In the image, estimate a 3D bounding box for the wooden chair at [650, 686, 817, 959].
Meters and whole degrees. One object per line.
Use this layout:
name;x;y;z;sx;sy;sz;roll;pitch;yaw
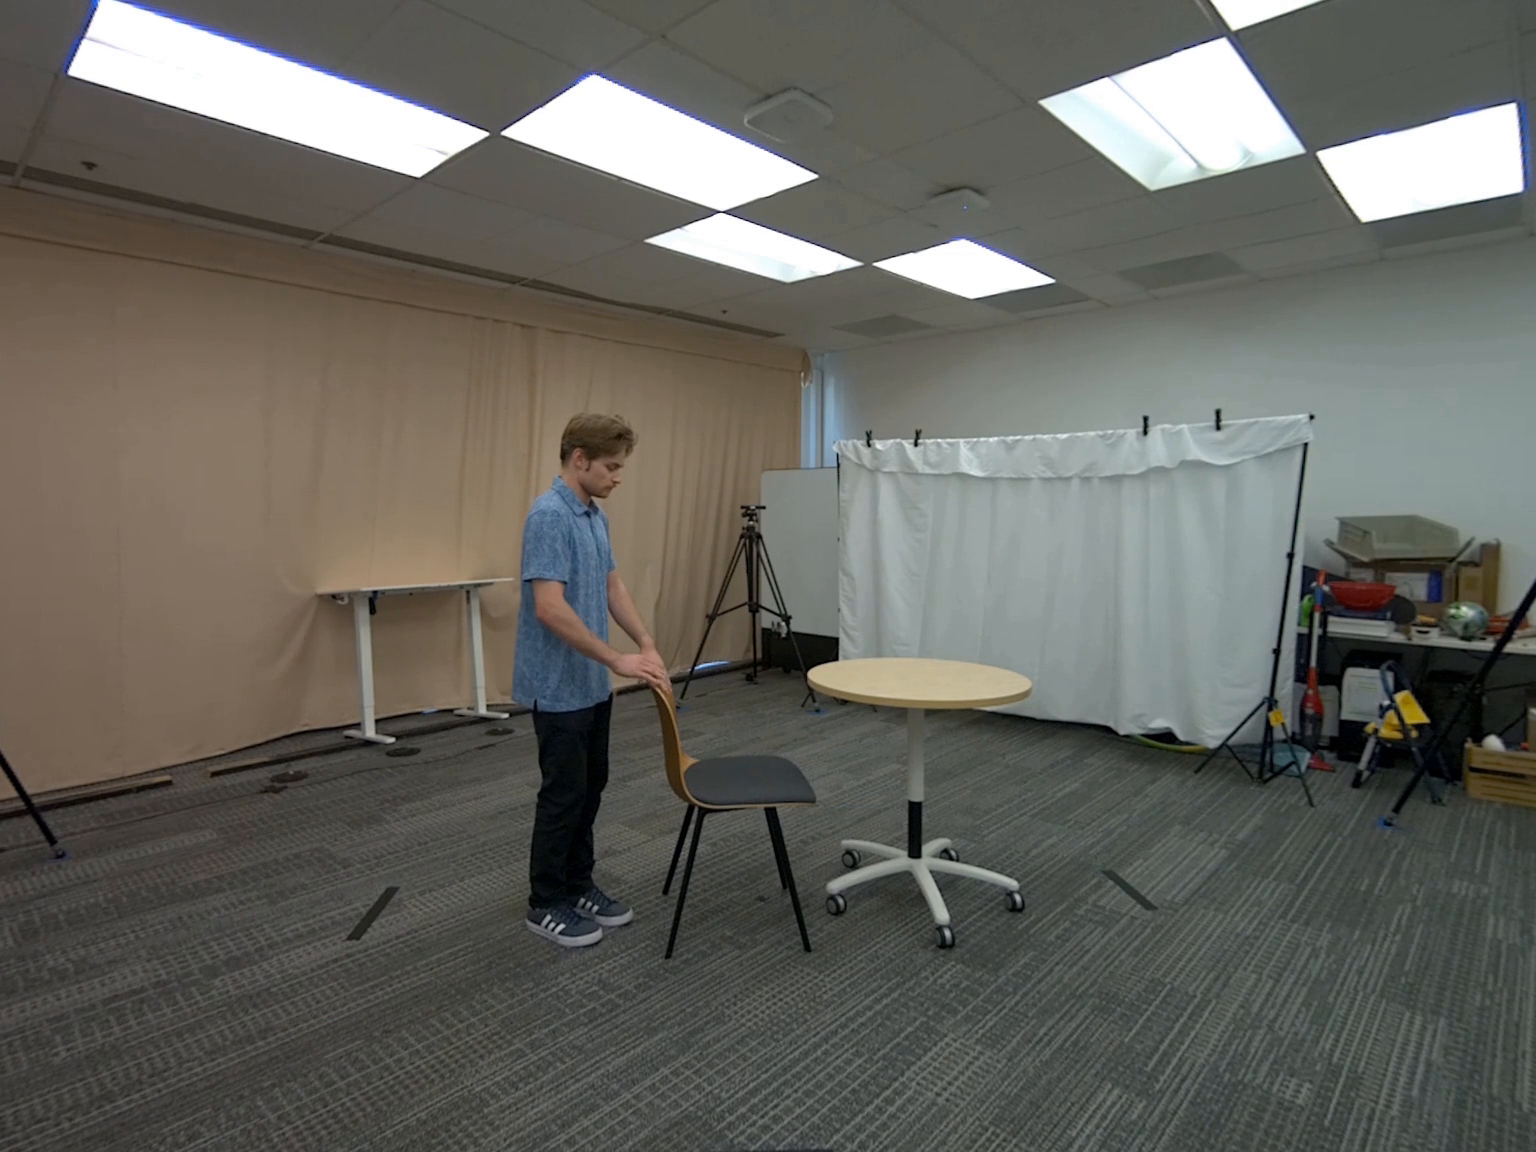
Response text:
wooden chair;-0.110;0.730;2.798;0.520;0.875;0.482;-5;3;-7
